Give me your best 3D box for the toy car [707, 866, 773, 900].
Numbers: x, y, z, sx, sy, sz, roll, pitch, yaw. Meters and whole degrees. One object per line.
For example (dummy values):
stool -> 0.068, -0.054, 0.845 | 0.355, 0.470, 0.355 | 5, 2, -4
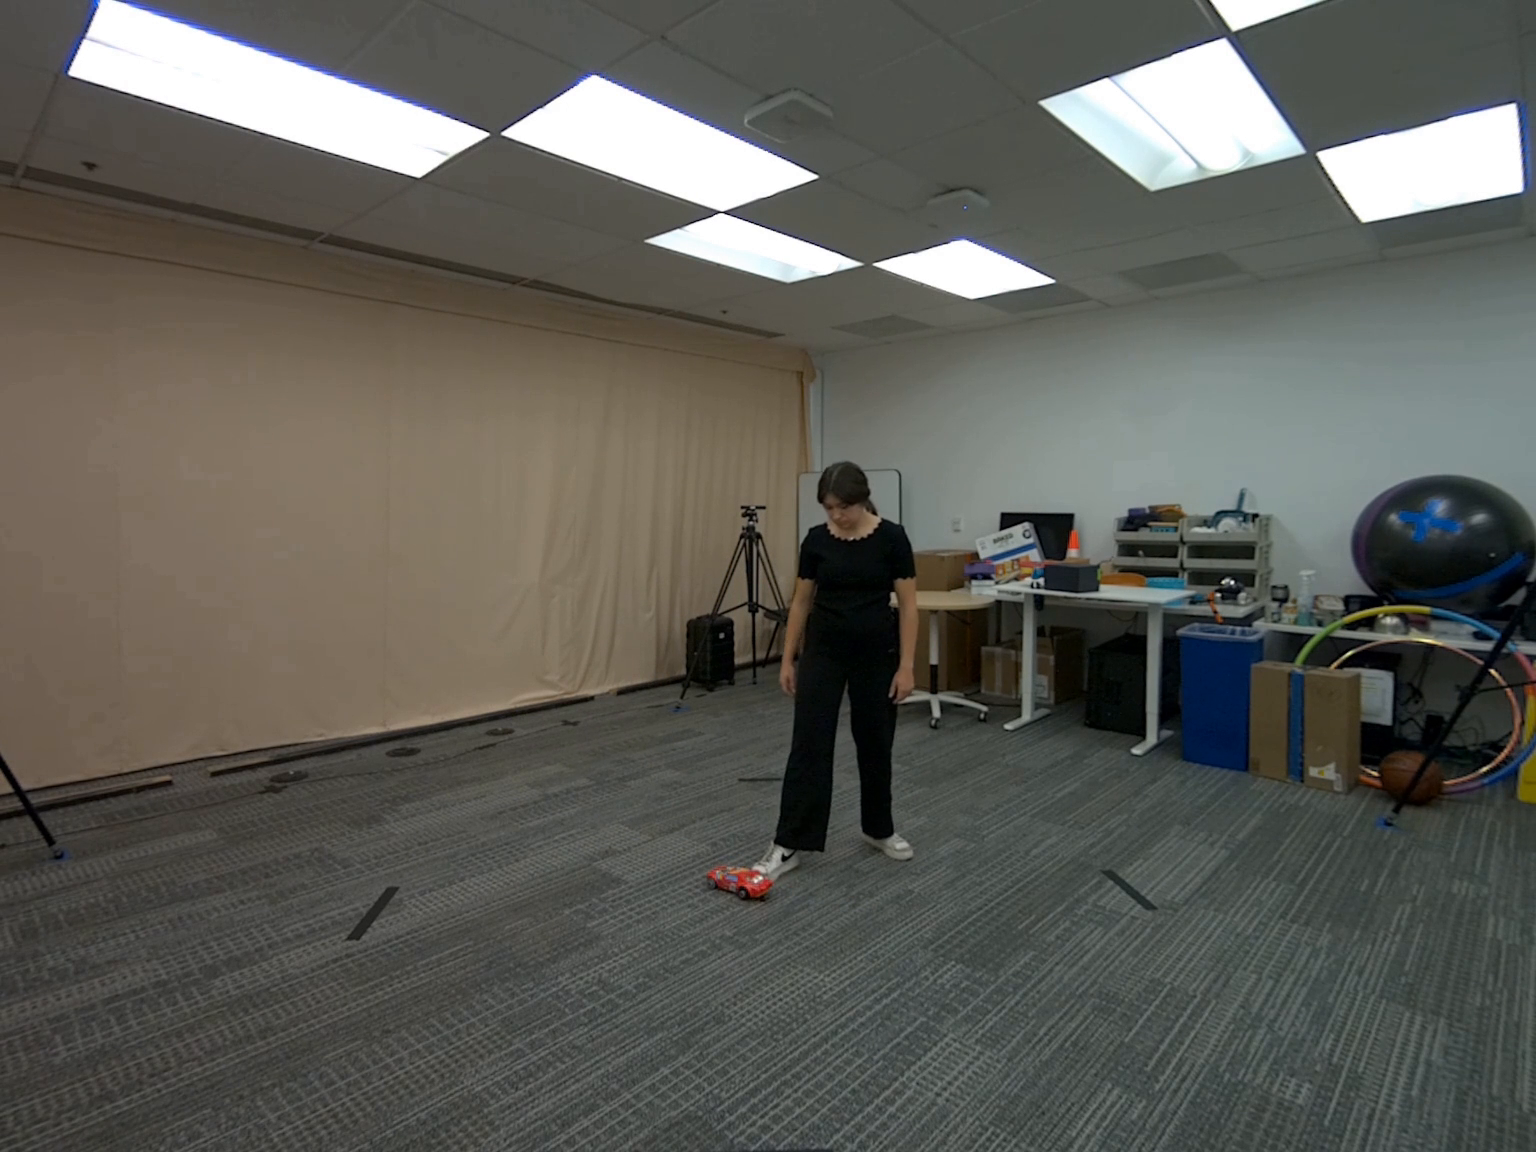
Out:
toy car -> -0.096, 1.106, 3.043 | 0.261, 0.083, 0.126 | -10, -3, 37
